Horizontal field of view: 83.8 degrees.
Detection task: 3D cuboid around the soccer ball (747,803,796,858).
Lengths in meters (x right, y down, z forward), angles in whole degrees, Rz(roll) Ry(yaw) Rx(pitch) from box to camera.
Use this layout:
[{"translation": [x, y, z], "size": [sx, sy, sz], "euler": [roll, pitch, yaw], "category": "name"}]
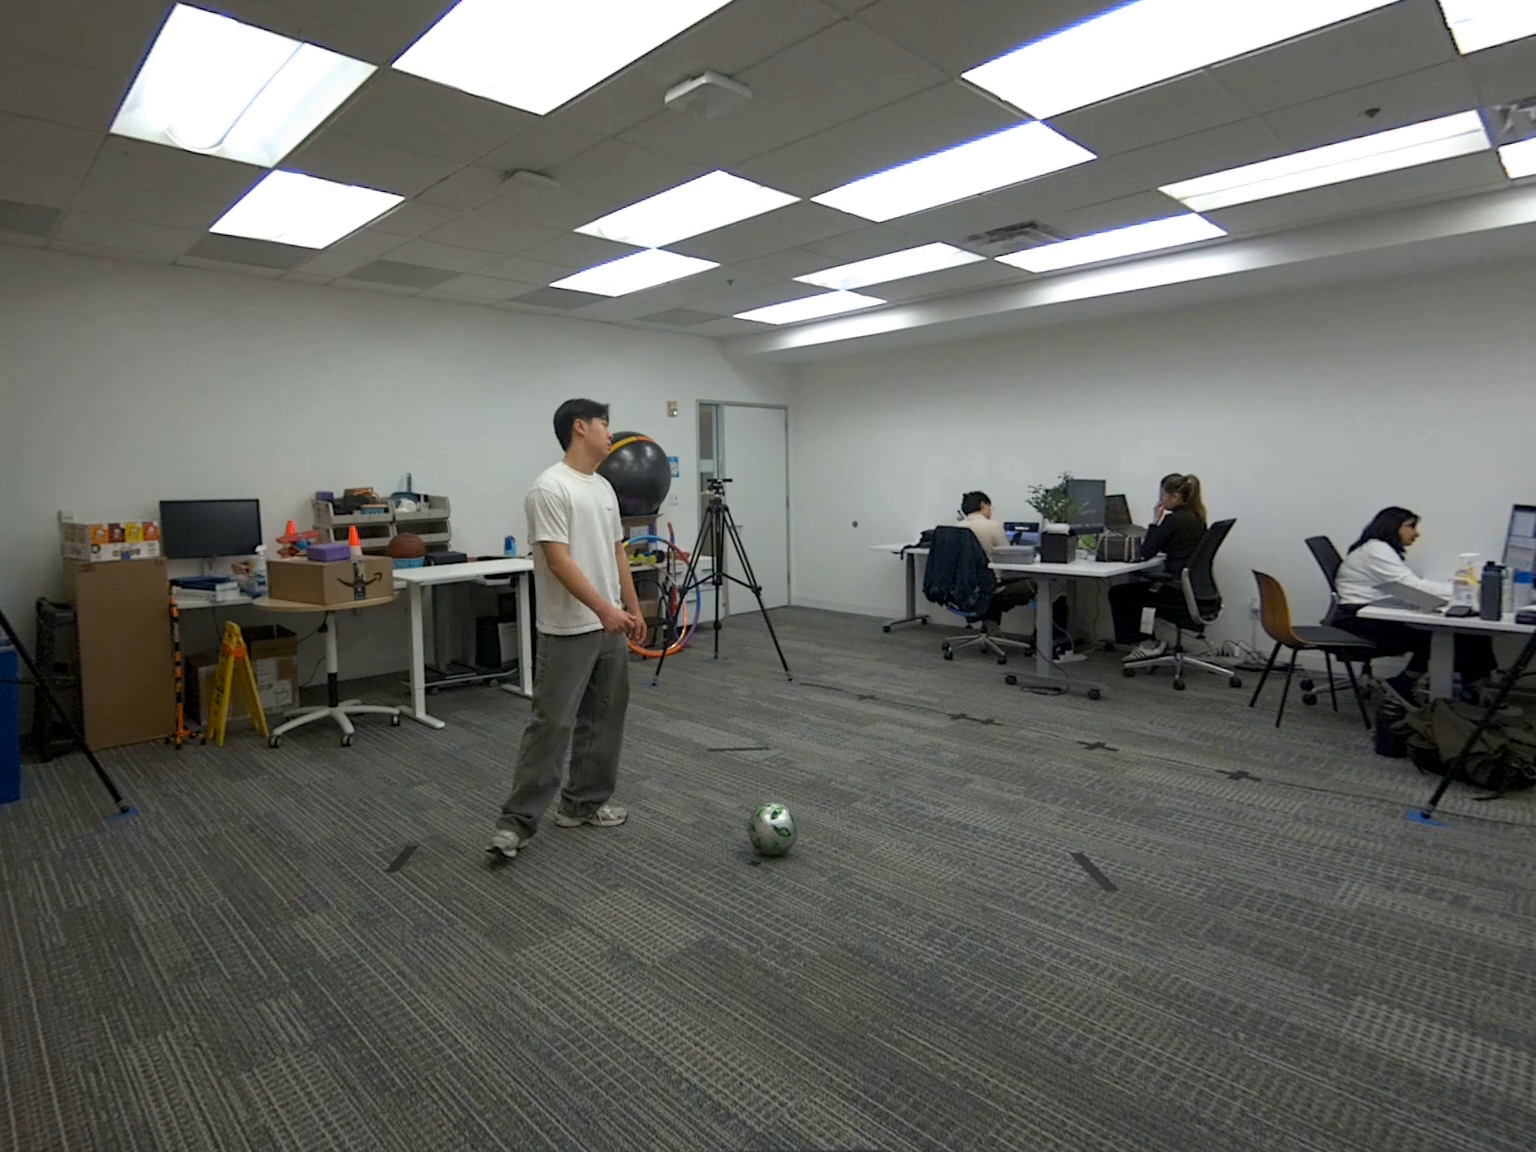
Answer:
[{"translation": [0.017, 0.936, 3.175], "size": [0.187, 0.187, 0.188], "euler": [-1, 5, -2], "category": "soccer ball"}]
